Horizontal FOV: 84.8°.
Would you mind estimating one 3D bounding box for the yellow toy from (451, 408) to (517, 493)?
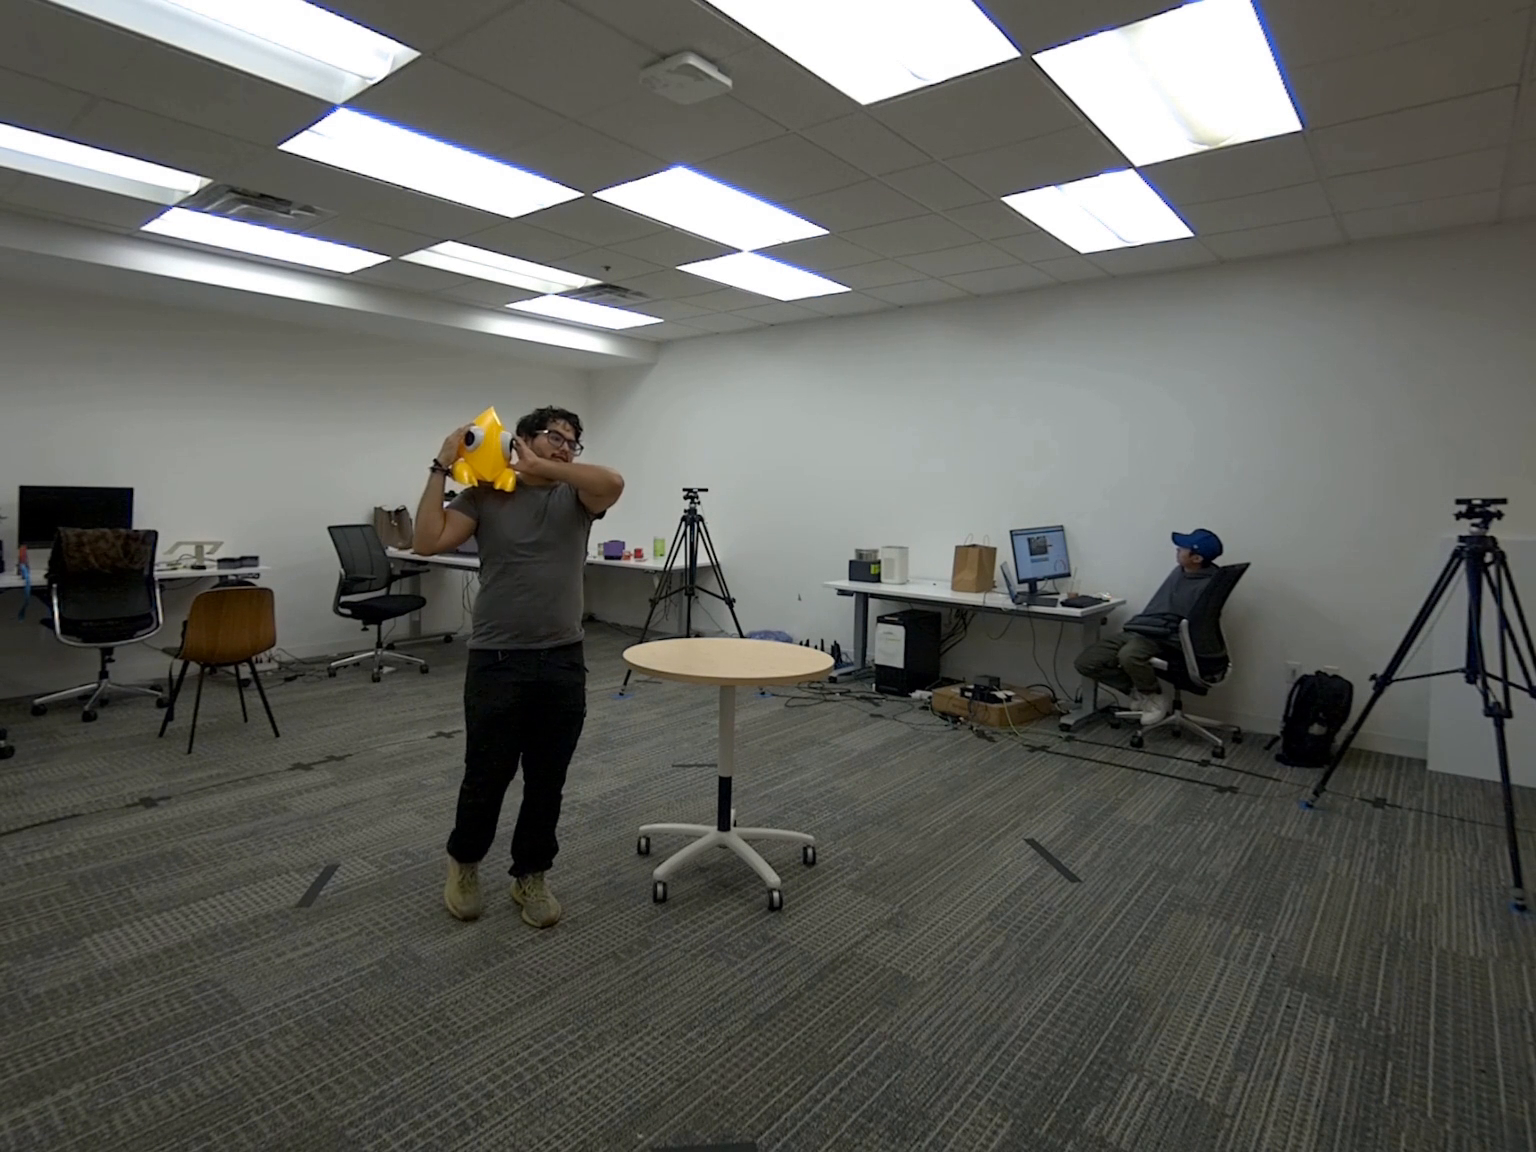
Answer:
[{"bbox_3d":[-0.883,-0.404,2.648,0.199,0.229,0.201,7,16,-30],"label":"yellow toy"}]
